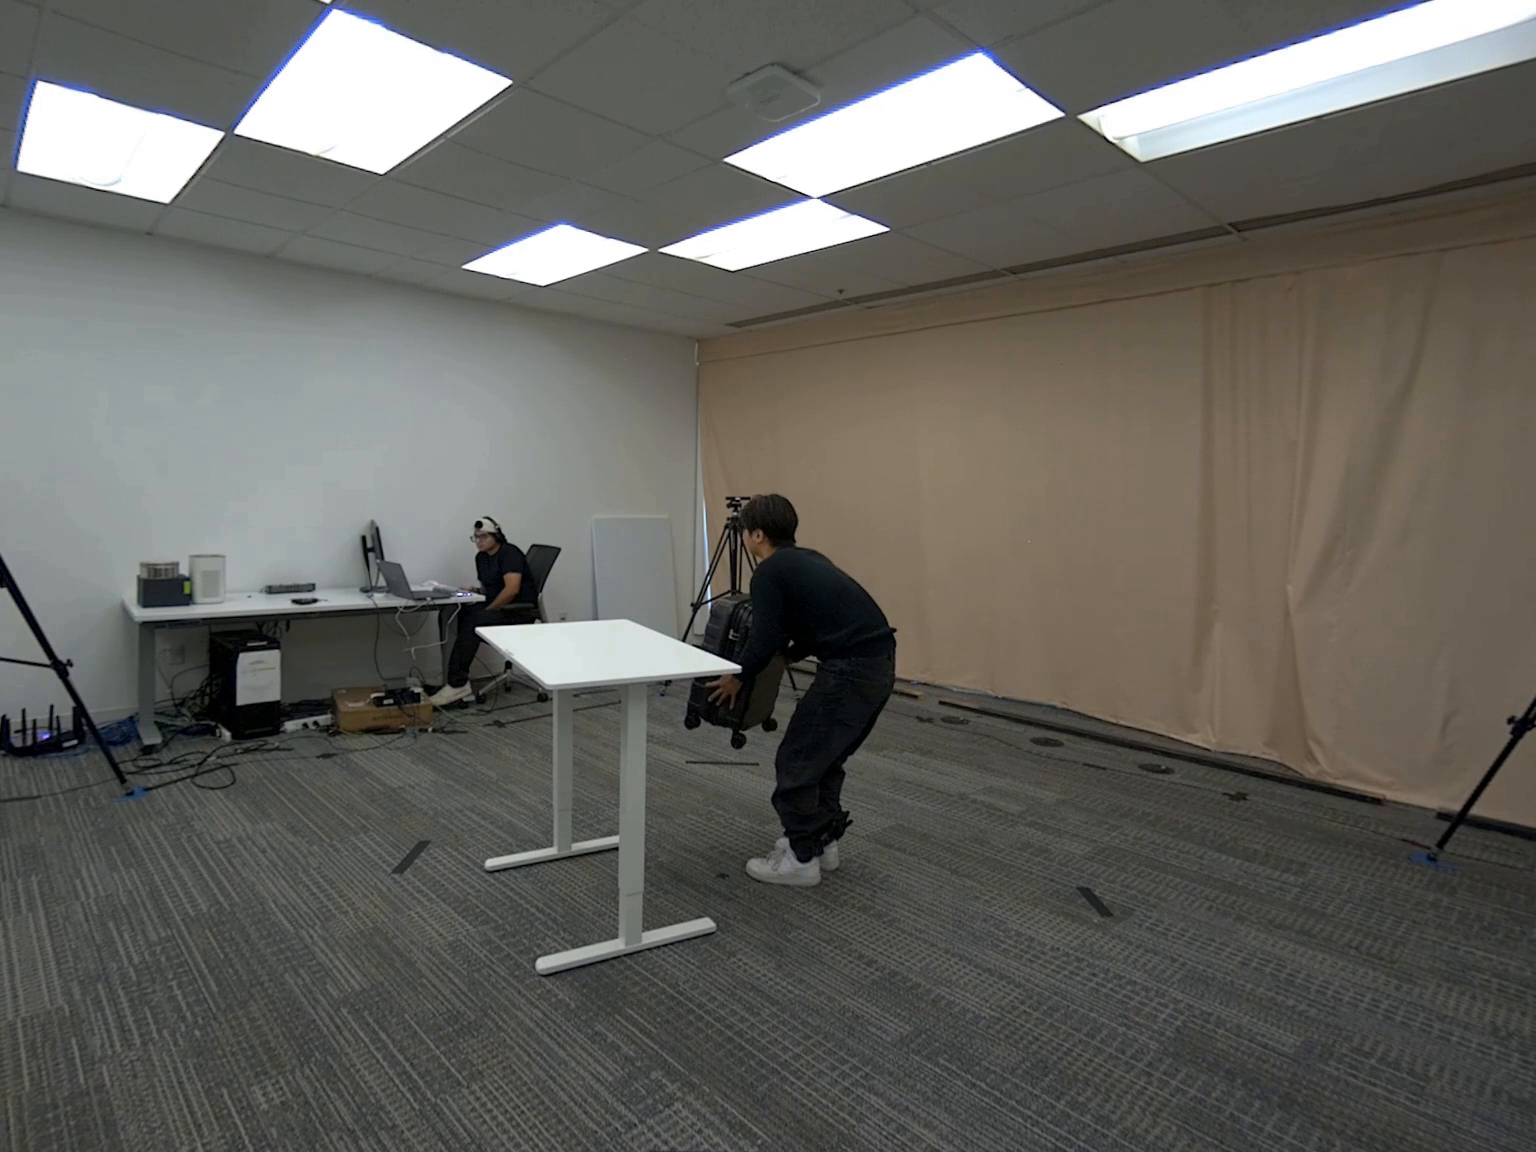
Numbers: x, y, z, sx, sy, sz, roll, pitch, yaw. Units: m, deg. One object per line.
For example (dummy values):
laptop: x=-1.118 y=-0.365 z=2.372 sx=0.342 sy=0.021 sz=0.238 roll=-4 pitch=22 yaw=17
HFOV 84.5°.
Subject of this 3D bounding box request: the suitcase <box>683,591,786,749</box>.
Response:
suitcase: x=-0.109 y=0.352 z=3.368 sx=0.254 sy=0.547 sz=0.368 roll=16 pitch=7 yaw=24
